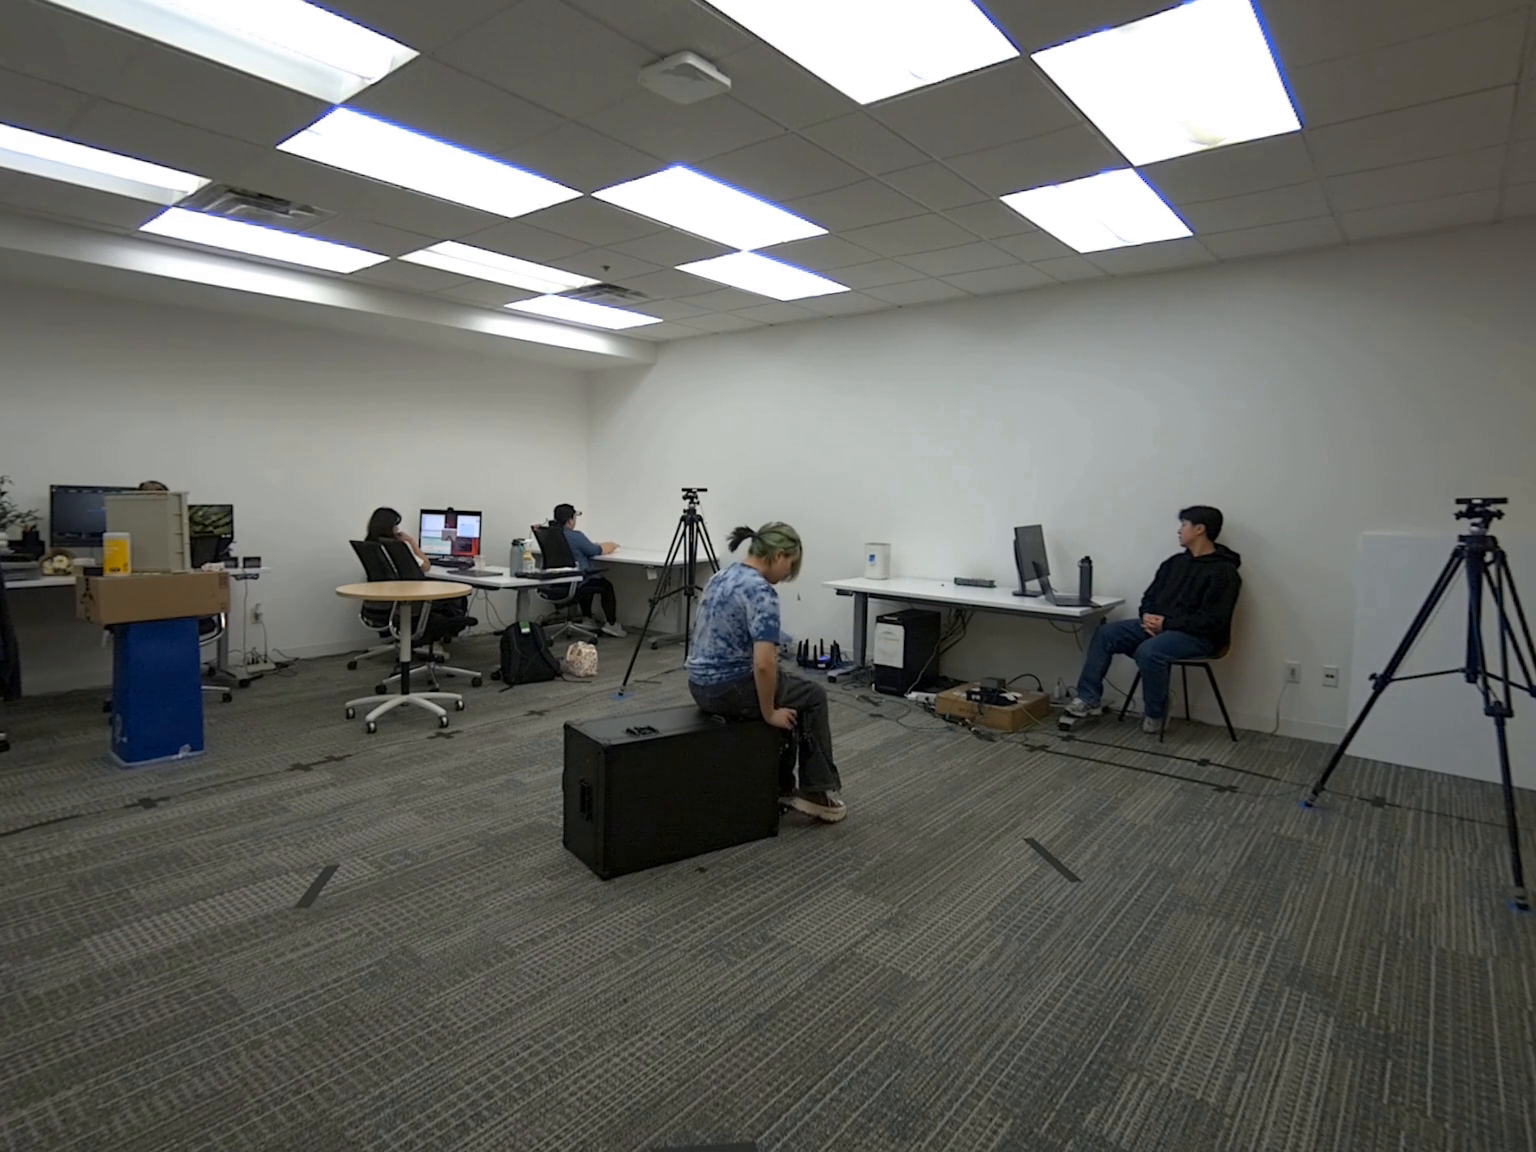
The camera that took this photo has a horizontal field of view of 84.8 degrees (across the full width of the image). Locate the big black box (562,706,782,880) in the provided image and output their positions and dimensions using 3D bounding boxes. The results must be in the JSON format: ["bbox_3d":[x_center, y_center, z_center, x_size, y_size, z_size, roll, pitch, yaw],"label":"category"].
[{"bbox_3d":[-0.366,0.801,3.368,0.837,0.520,0.409,-1,4,-34],"label":"big black box"}]
